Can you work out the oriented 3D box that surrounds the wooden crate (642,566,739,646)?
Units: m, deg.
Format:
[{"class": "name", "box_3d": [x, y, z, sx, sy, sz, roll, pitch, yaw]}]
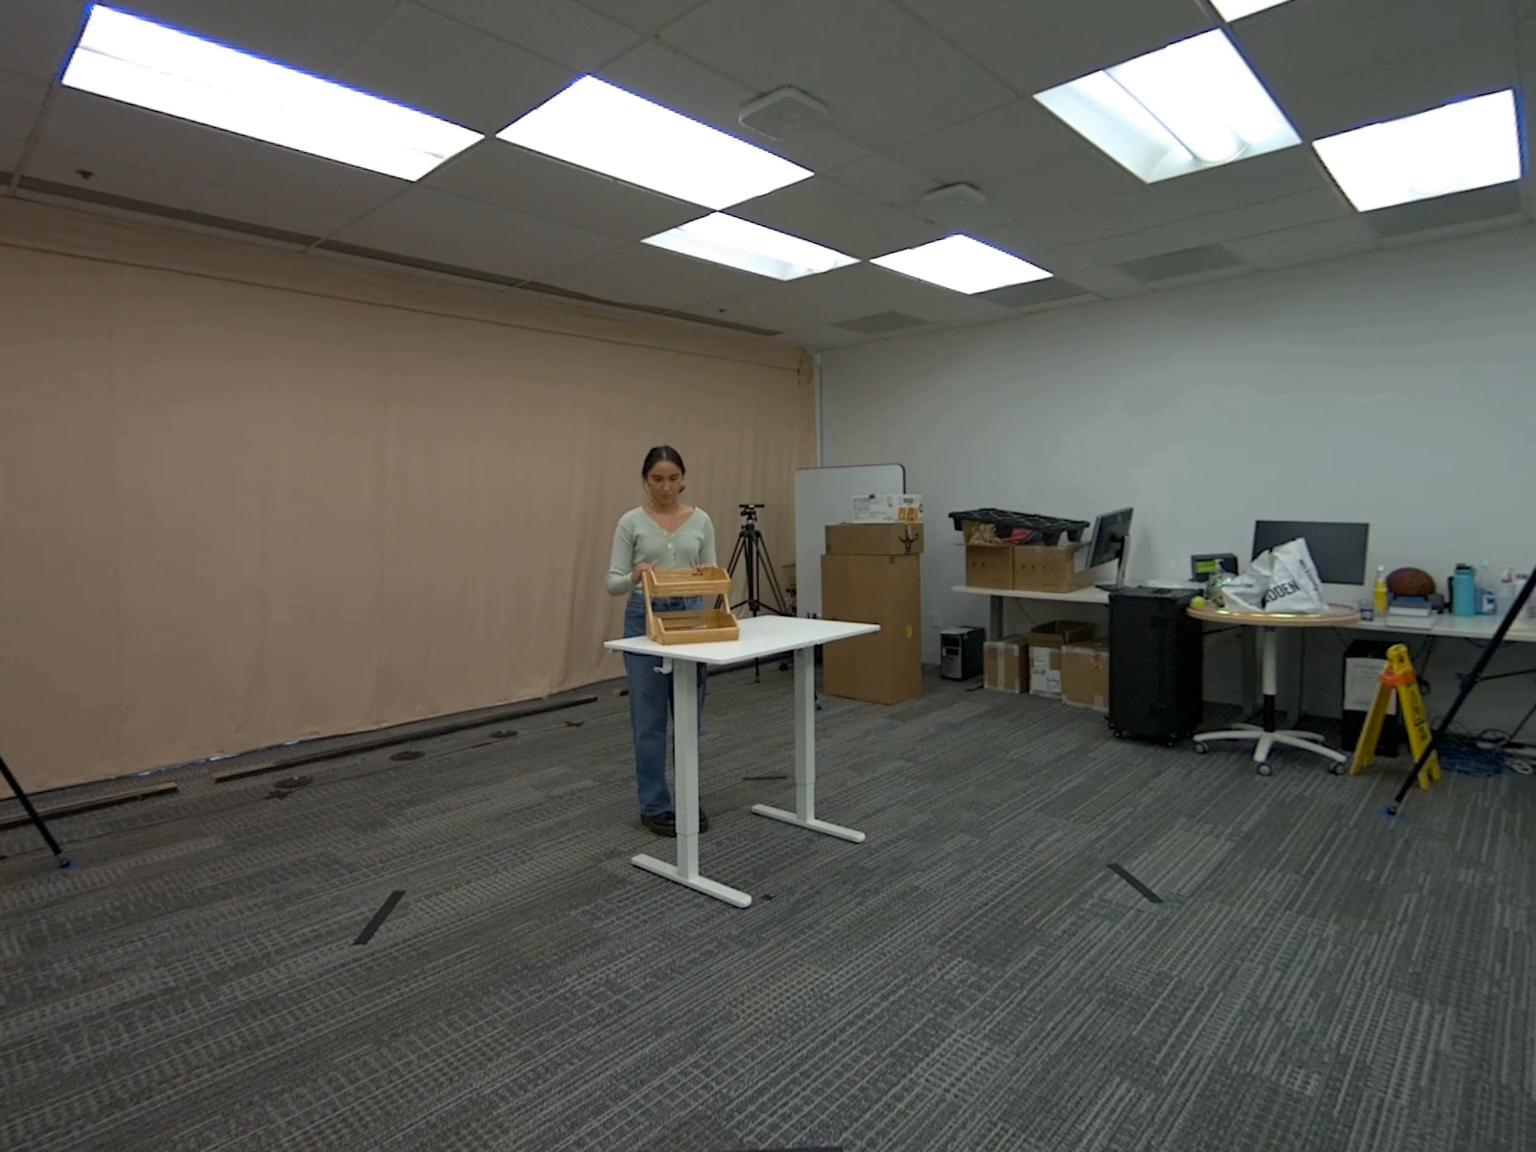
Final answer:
[{"class": "wooden crate", "box_3d": [-0.299, 0.103, 3.248, 0.318, 0.273, 0.309, -2, 3, -21]}]
